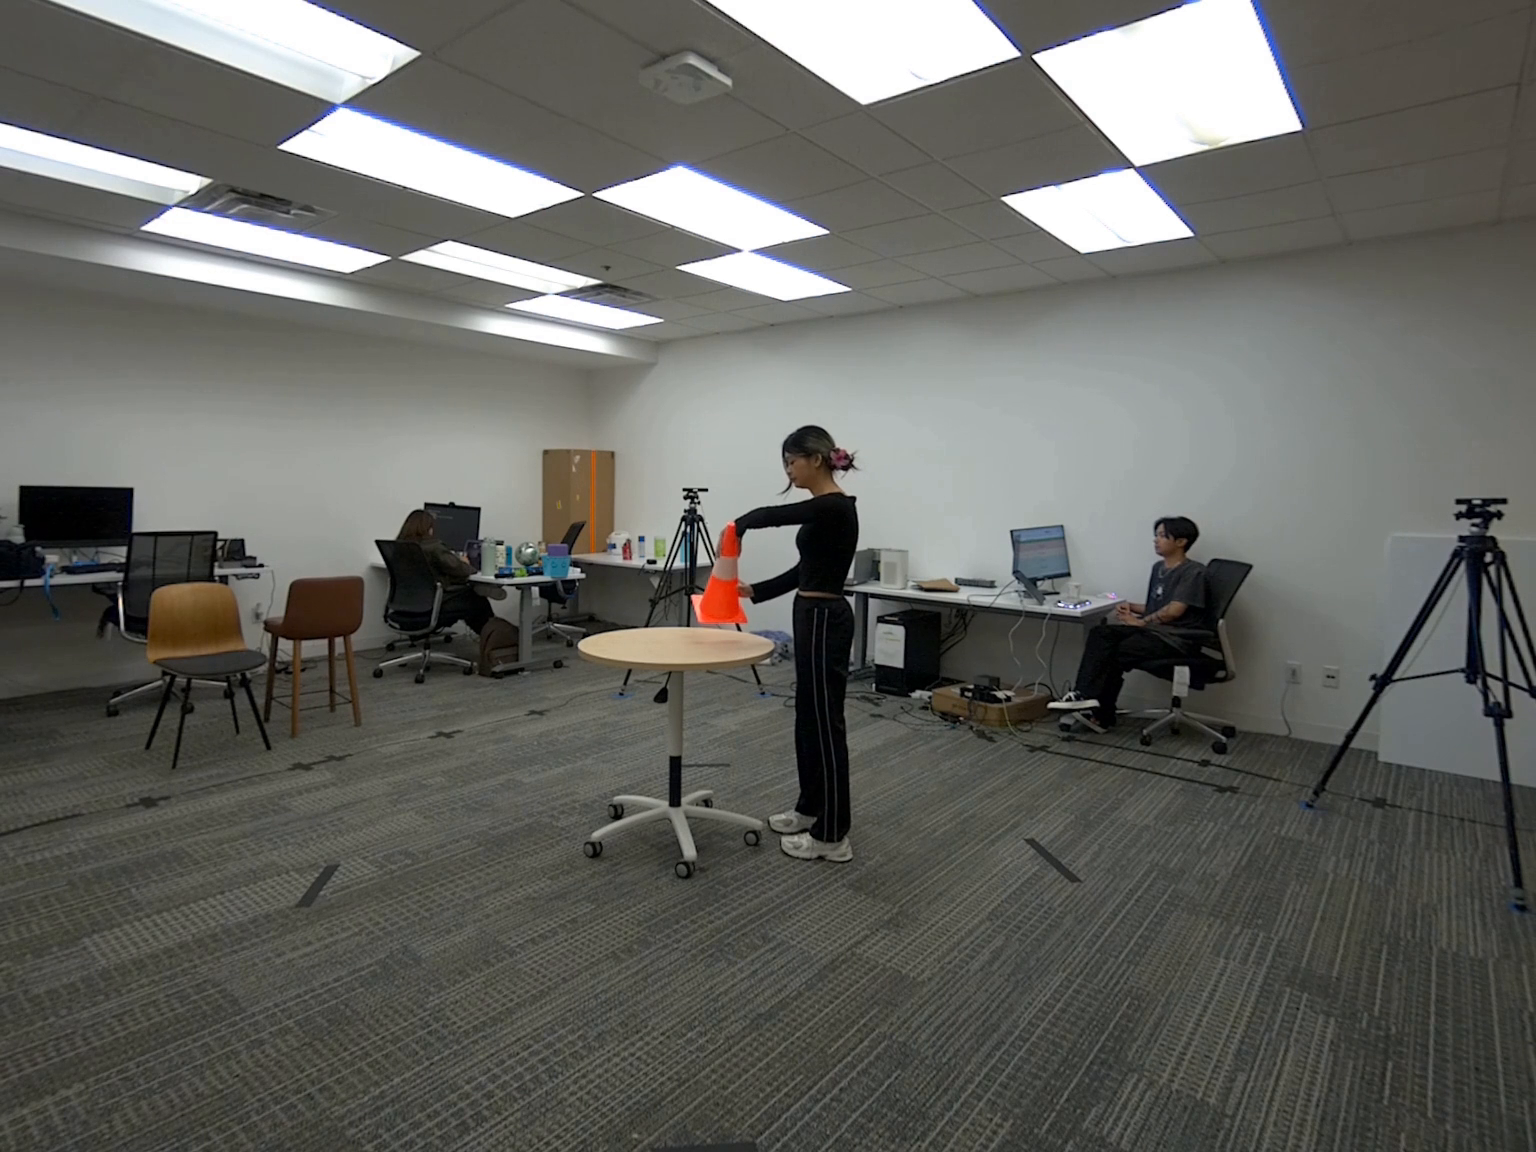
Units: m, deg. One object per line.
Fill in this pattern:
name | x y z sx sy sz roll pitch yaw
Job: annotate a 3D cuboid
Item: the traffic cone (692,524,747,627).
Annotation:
traffic cone | -0.170 -0.031 3.303 0.199 0.377 0.212 2 27 -19
